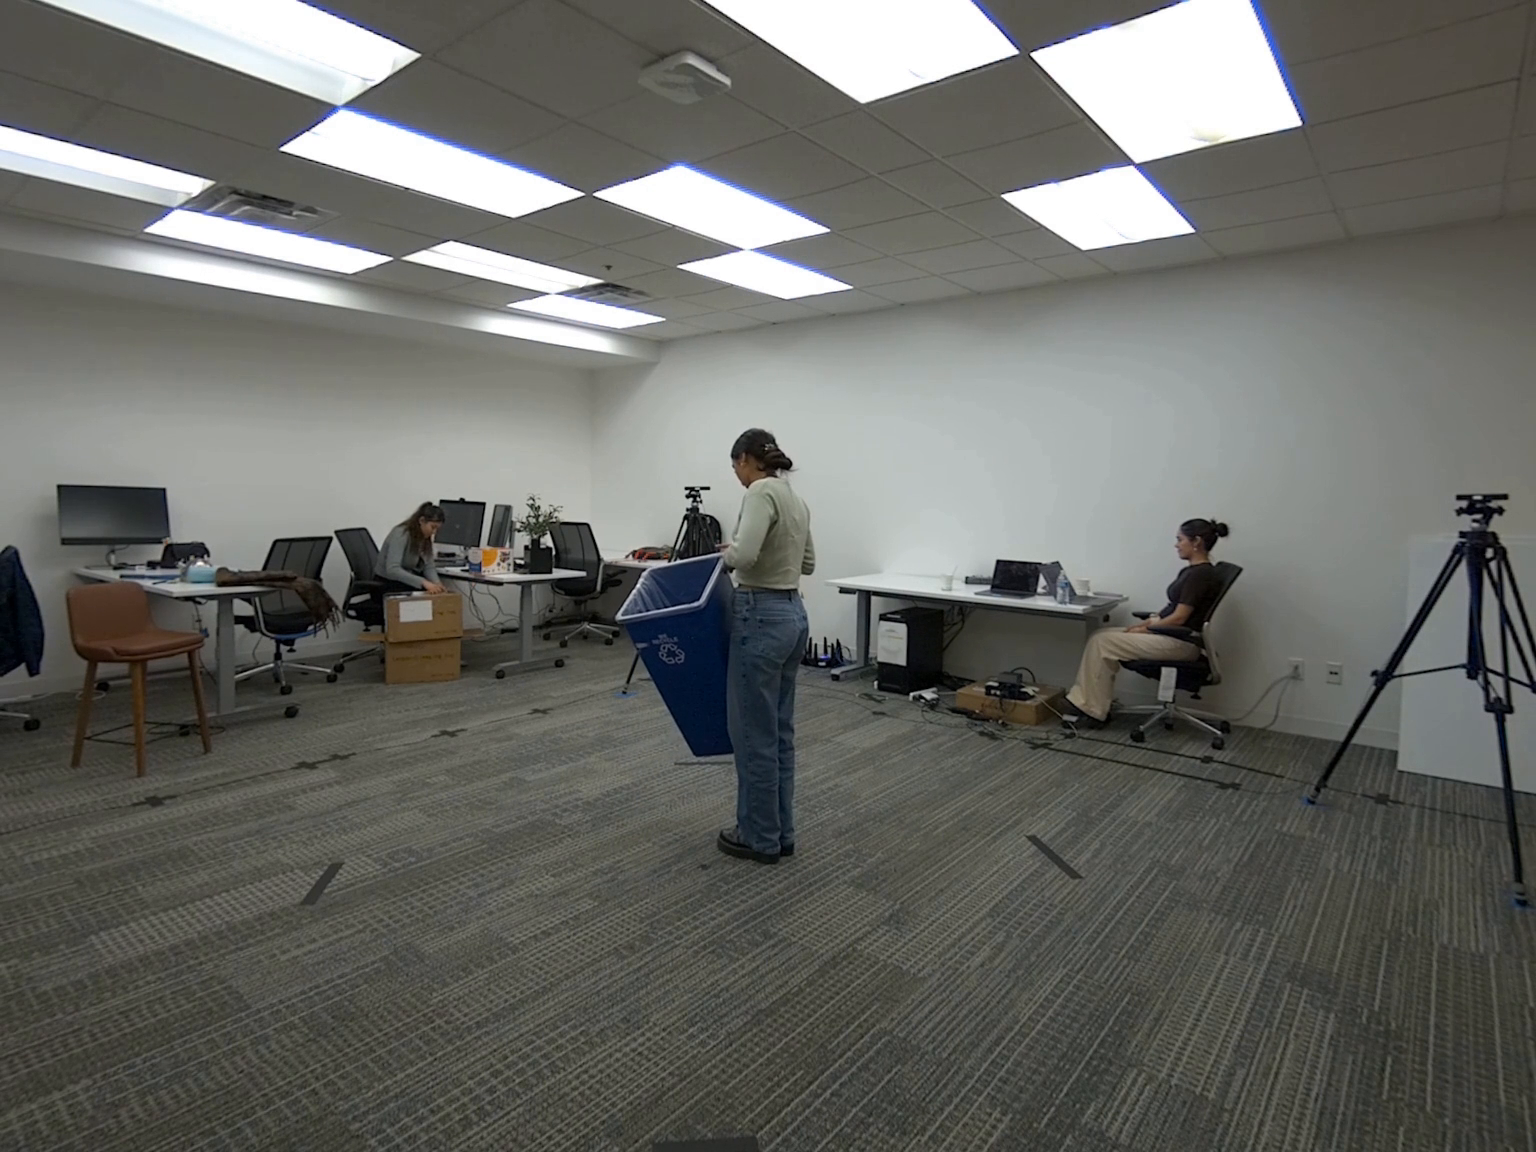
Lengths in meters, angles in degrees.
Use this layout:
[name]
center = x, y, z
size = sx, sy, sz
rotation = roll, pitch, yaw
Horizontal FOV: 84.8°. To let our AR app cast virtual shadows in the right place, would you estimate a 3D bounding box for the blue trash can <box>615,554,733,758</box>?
[blue trash can]
center = -0.258, 0.326, 3.356
size = 0.381, 0.694, 0.382
rotation = -12, 26, 23
